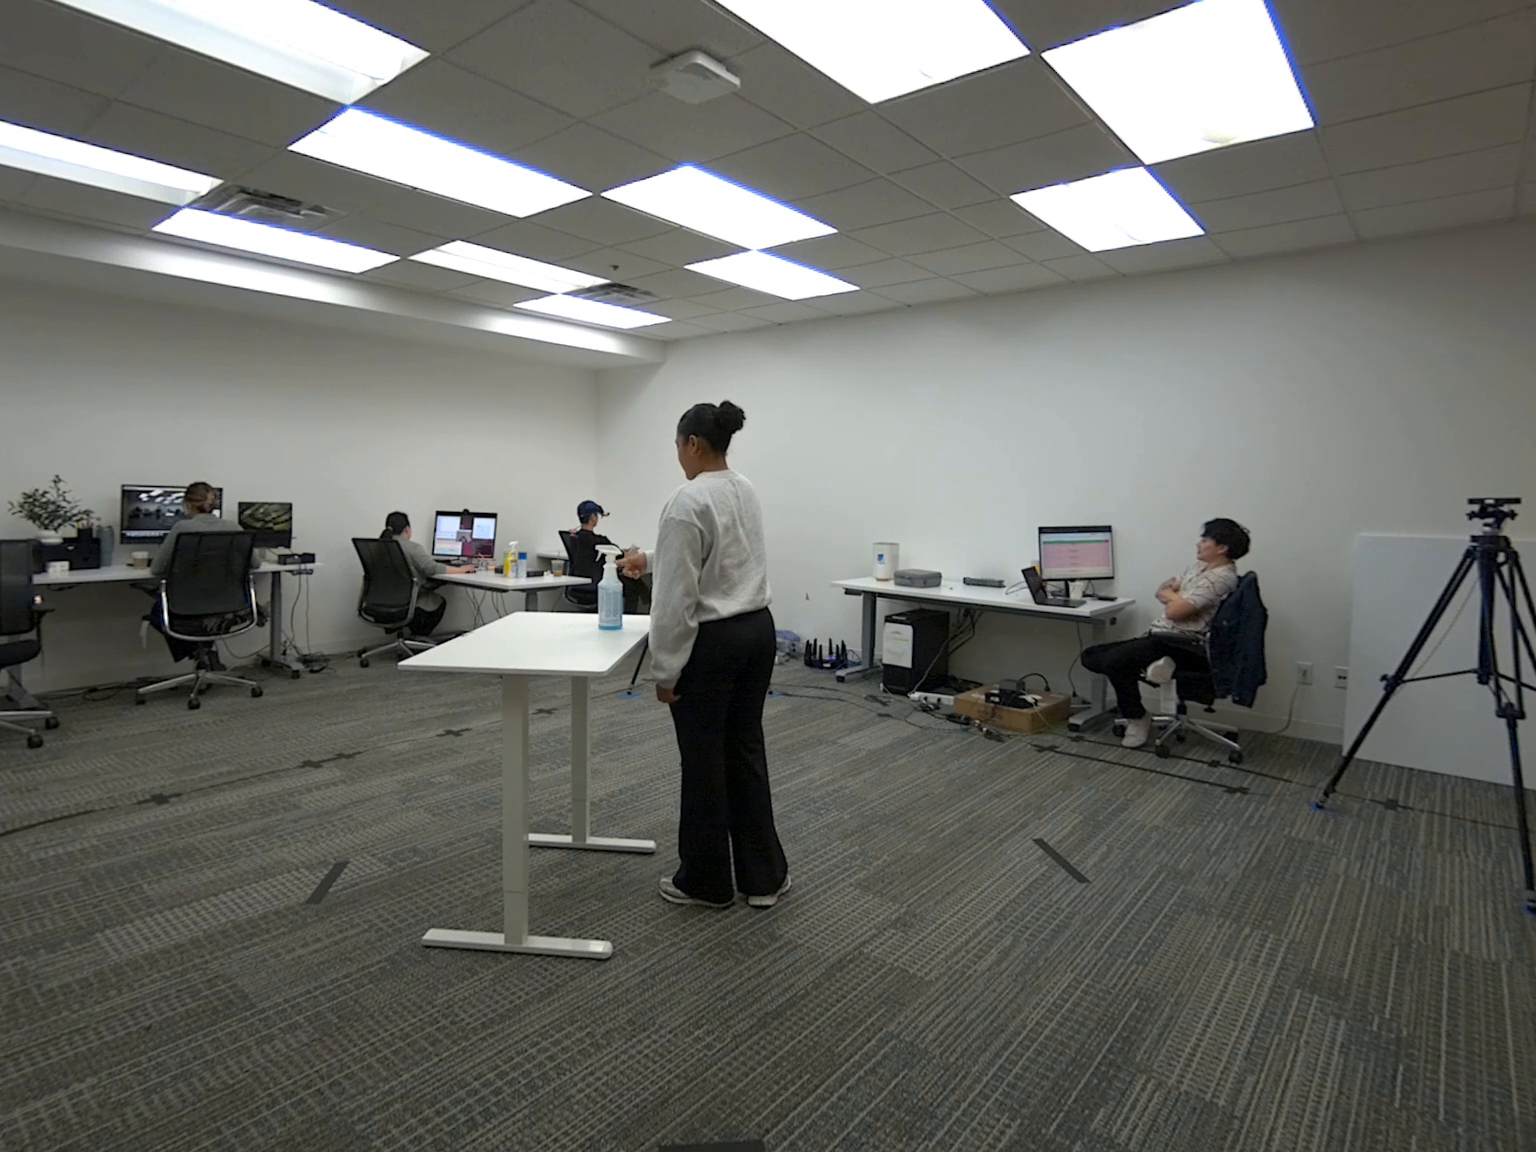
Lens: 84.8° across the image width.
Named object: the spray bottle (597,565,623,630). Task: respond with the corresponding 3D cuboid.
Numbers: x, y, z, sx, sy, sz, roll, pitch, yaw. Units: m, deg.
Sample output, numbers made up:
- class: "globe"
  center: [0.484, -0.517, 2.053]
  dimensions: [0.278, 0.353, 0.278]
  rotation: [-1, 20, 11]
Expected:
- class: "spray bottle"
  center: [-0.572, 0.037, 3.024]
  dimensions: [0.092, 0.297, 0.085]
  rotation: [1, 3, 18]
